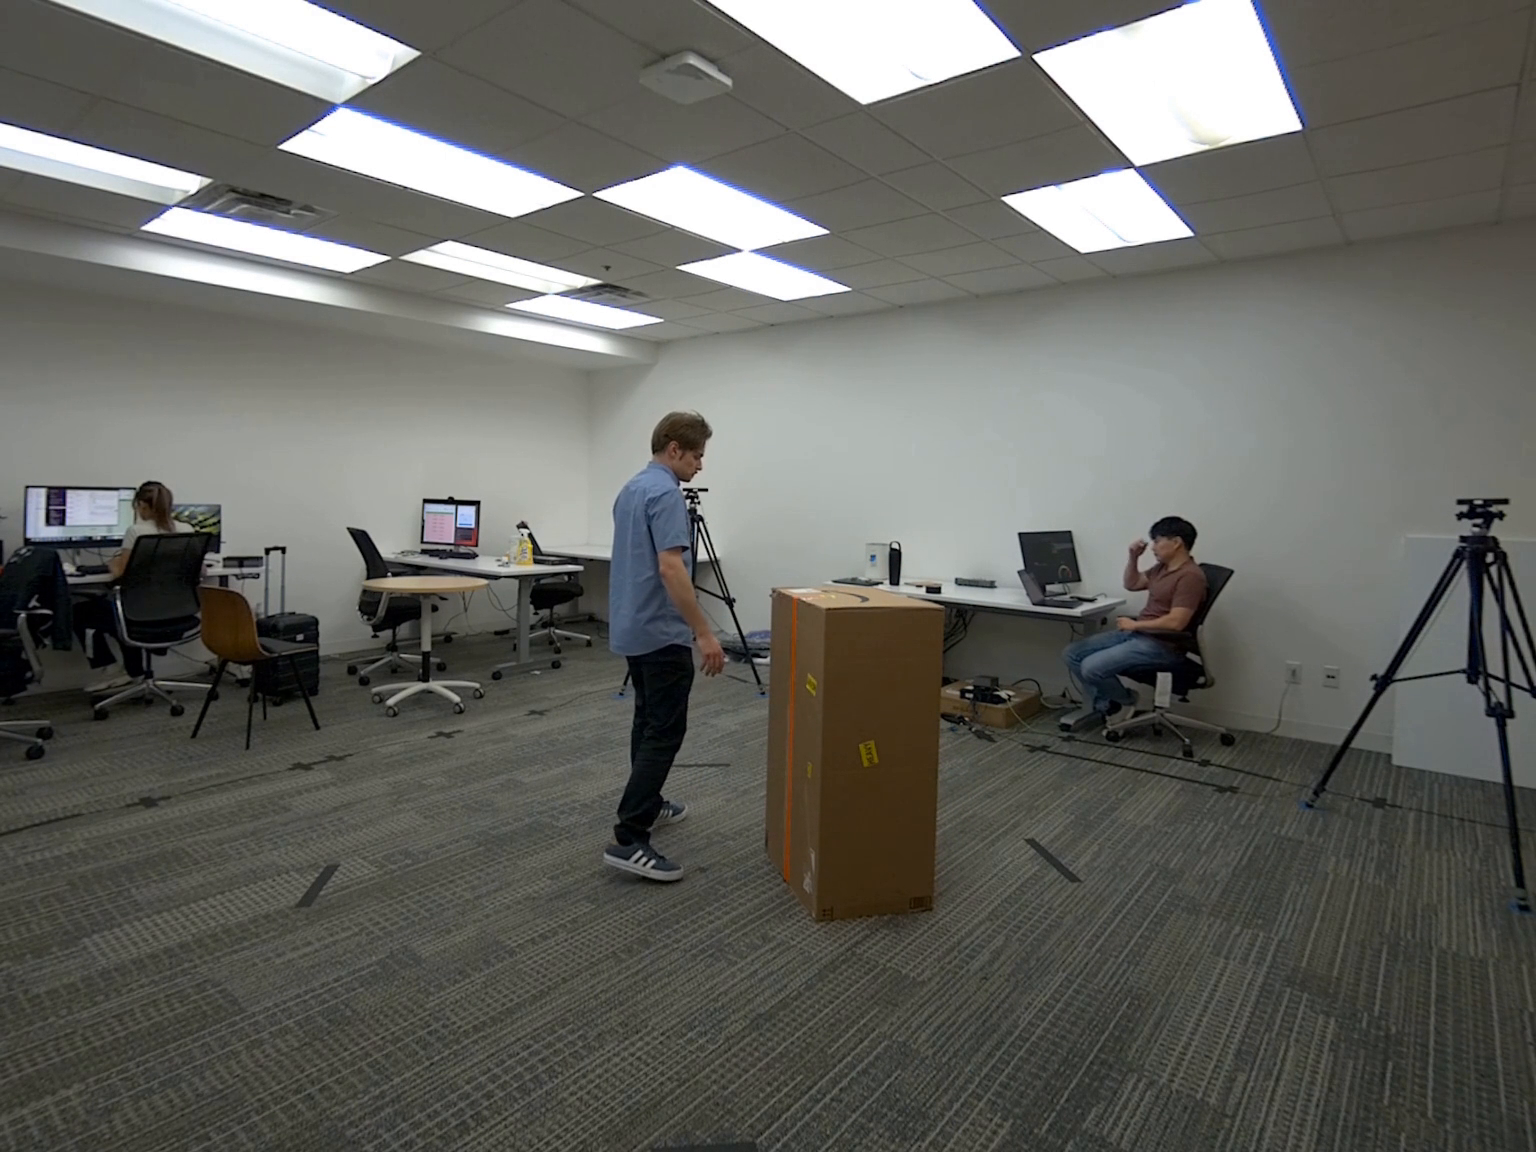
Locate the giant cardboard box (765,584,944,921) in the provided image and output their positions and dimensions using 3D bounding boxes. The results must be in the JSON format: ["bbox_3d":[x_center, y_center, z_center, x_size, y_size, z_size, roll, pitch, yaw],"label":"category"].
[{"bbox_3d":[0.280,0.576,3.033,0.441,1.024,0.594,0,4,-14],"label":"giant cardboard box"}]
